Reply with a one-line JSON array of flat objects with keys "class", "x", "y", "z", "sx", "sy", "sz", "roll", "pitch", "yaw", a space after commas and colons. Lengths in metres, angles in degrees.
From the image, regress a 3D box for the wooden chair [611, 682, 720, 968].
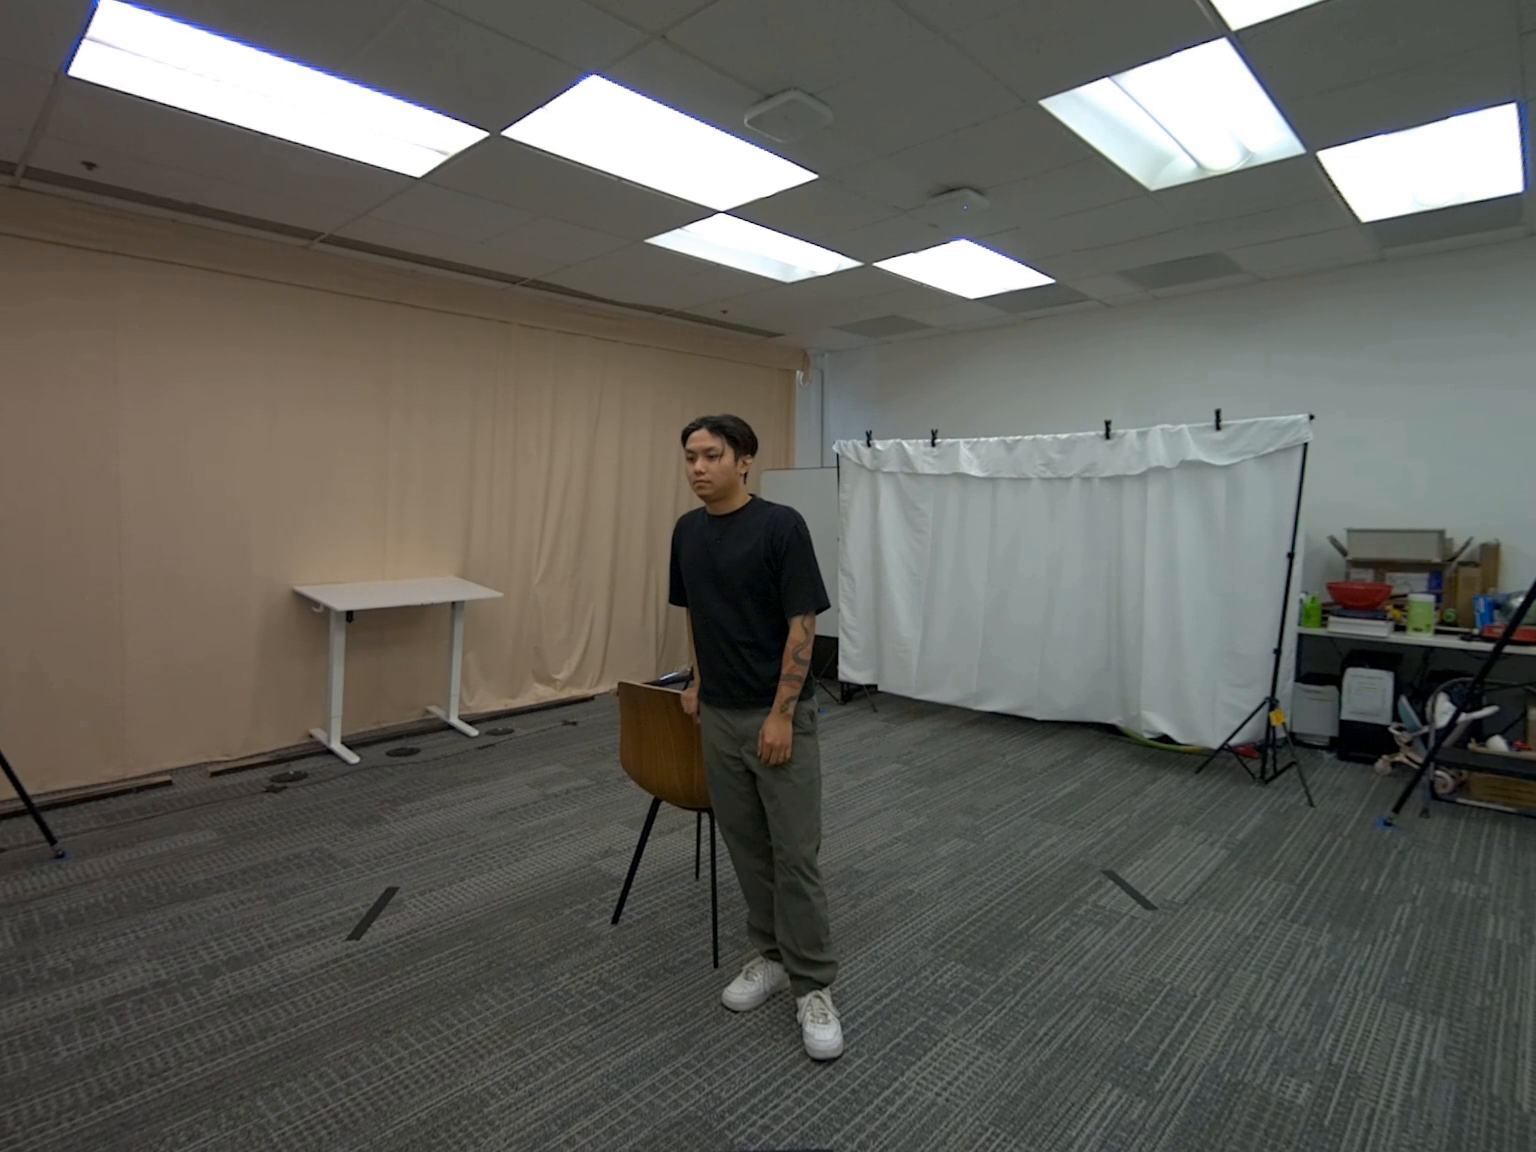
[{"class": "wooden chair", "x": -0.211, "y": 0.732, "z": 2.829, "sx": 0.493, "sy": 0.874, "sz": 0.509, "roll": 2, "pitch": 8, "yaw": 37}]
